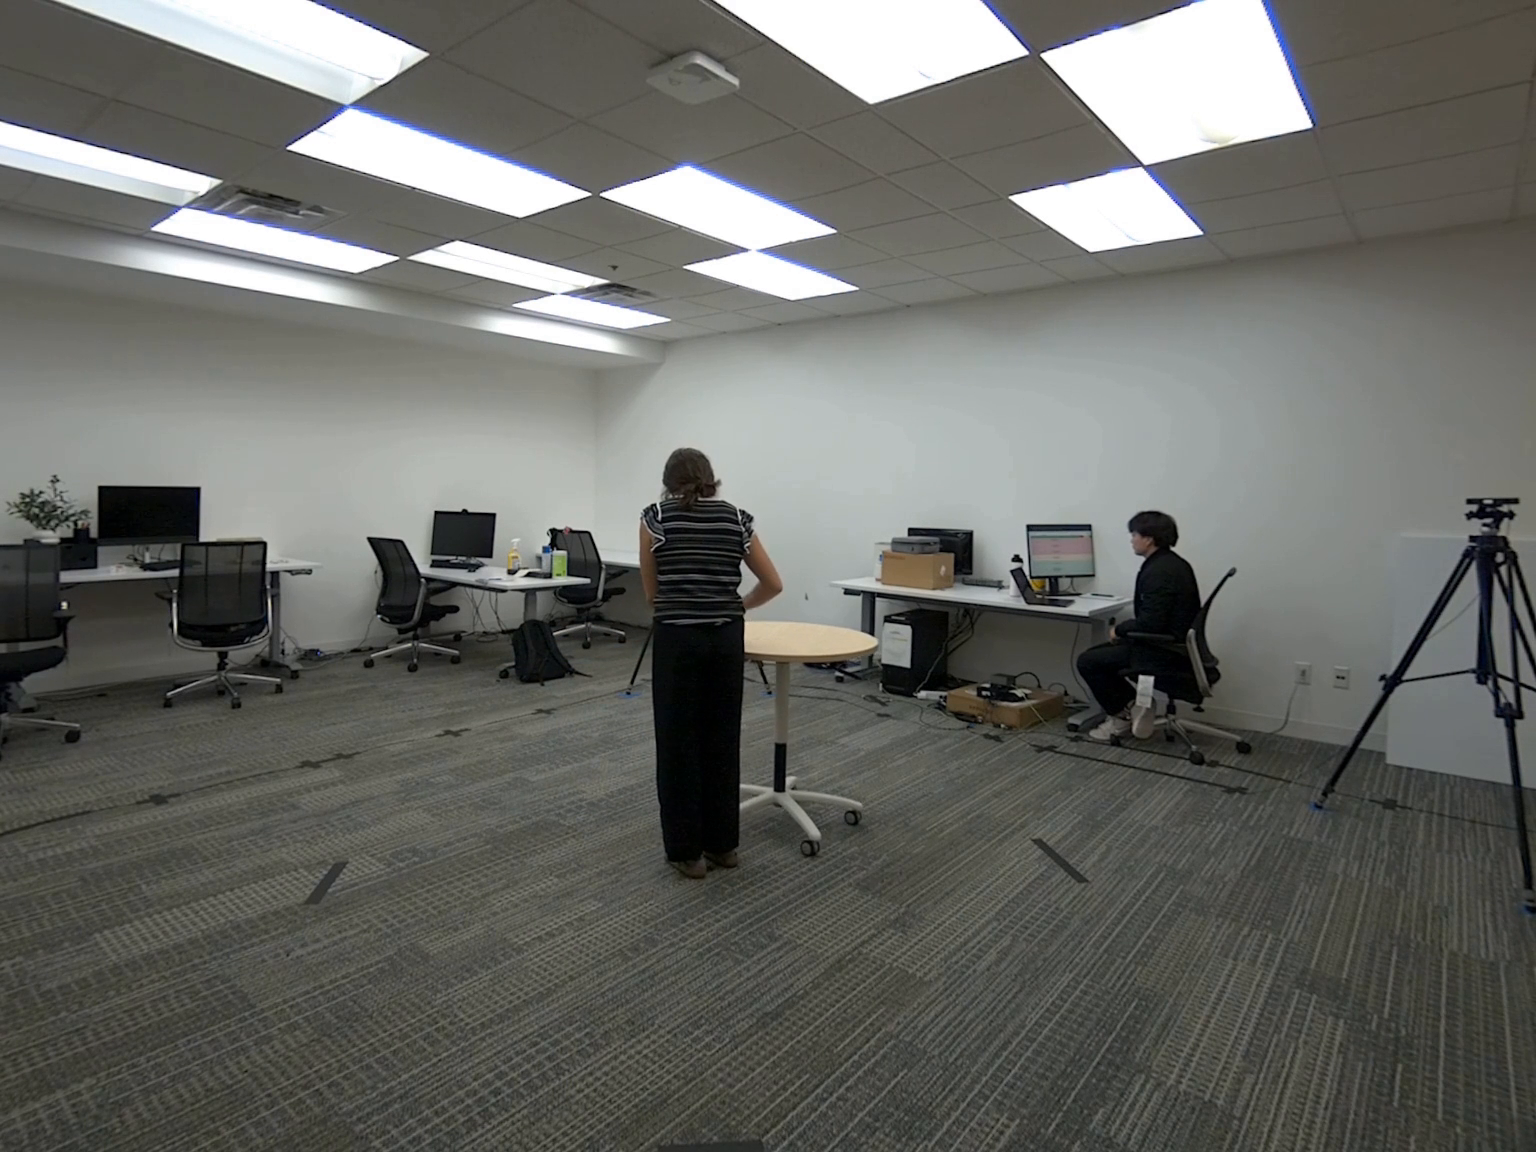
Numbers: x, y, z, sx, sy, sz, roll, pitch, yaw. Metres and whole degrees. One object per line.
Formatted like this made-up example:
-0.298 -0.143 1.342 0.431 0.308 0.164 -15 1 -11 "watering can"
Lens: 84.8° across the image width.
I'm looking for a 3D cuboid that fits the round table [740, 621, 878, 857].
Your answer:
0.031 0.634 3.522 0.784 0.784 0.789 2 4 -2 "round table"
